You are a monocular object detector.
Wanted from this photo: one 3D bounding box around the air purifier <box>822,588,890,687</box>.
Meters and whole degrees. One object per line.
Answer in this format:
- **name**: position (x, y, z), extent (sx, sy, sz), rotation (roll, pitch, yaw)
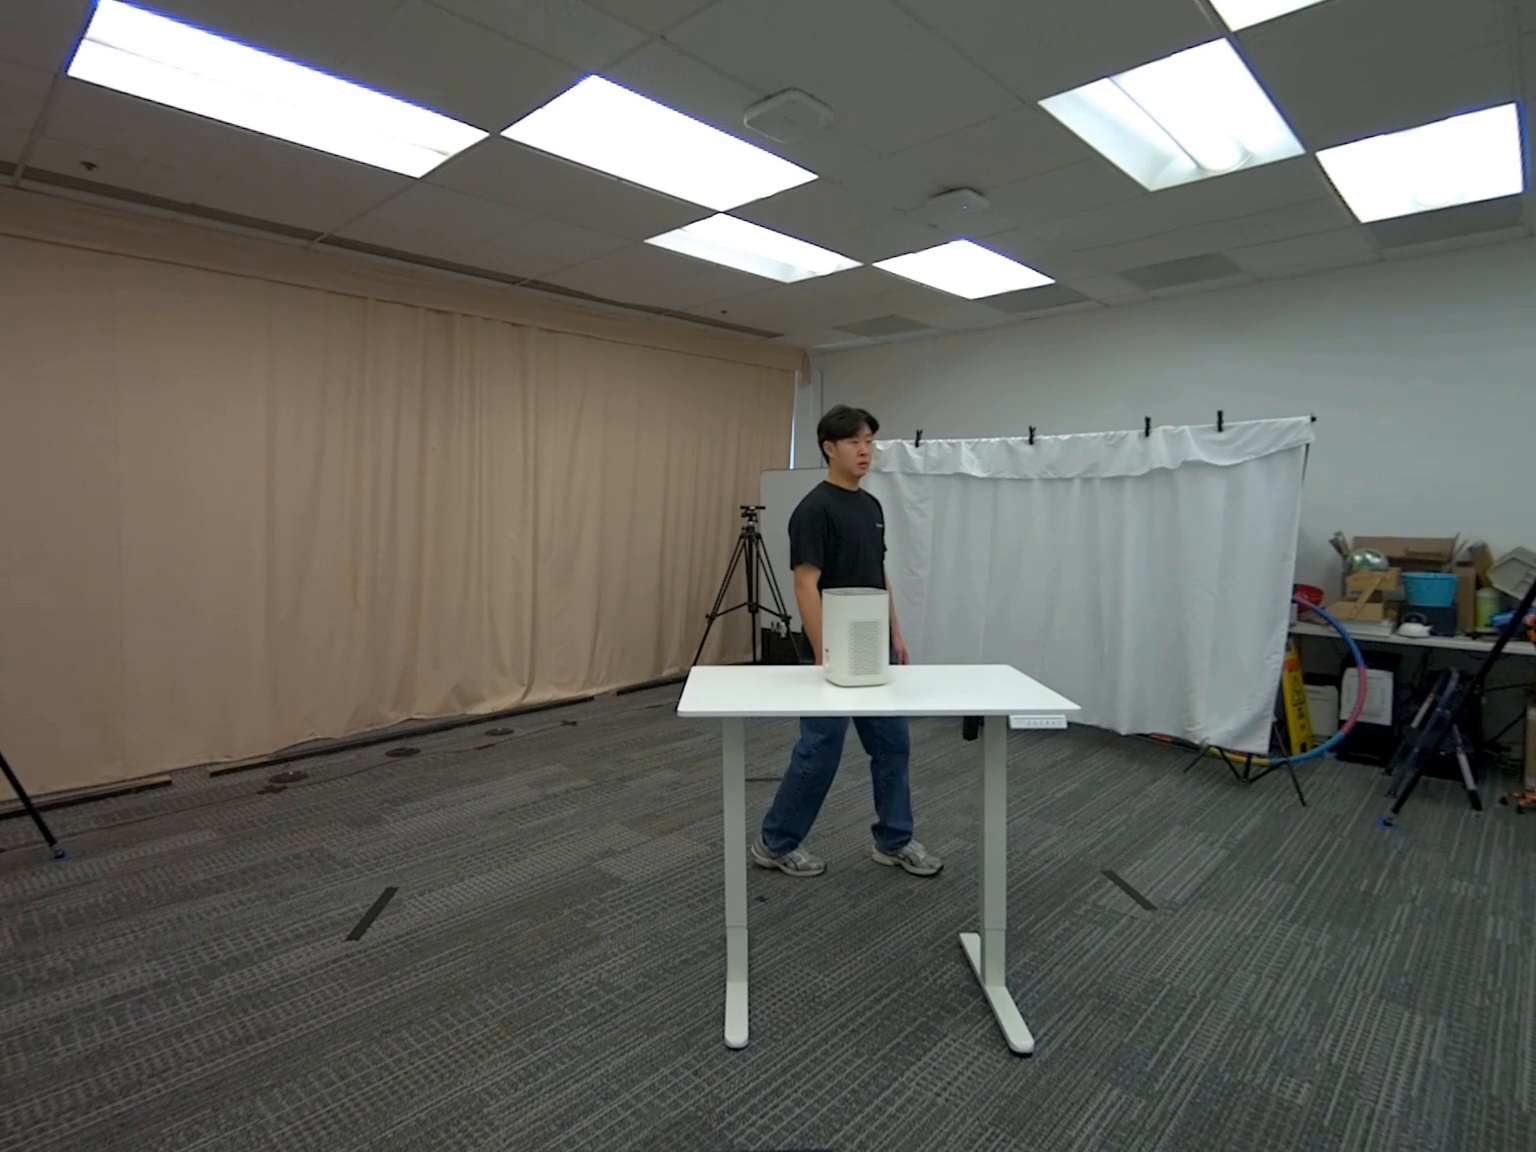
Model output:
- **air purifier**: position (0.248, 0.175, 2.428), extent (0.170, 0.265, 0.173), rotation (-3, 3, -11)
